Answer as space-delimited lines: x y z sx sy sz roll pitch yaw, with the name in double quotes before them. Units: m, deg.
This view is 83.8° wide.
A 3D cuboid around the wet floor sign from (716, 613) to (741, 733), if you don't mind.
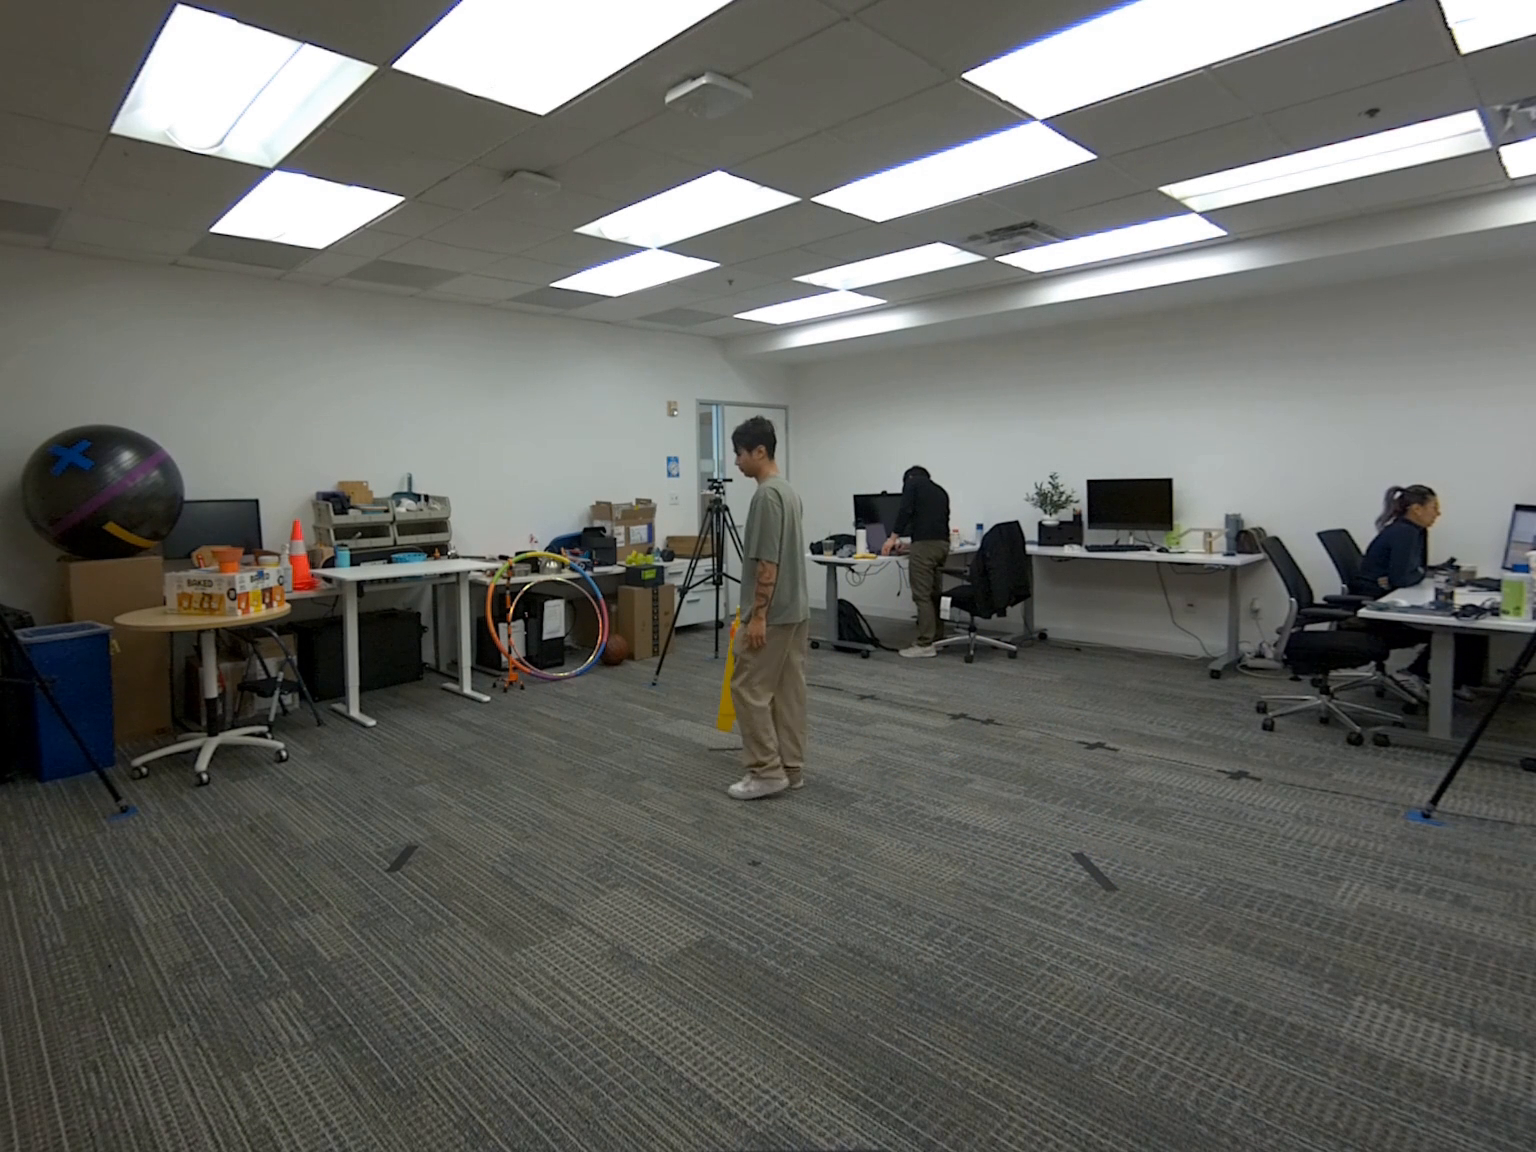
"wet floor sign" -0.072 0.470 4.277 0.287 0.634 0.290 7 22 16
